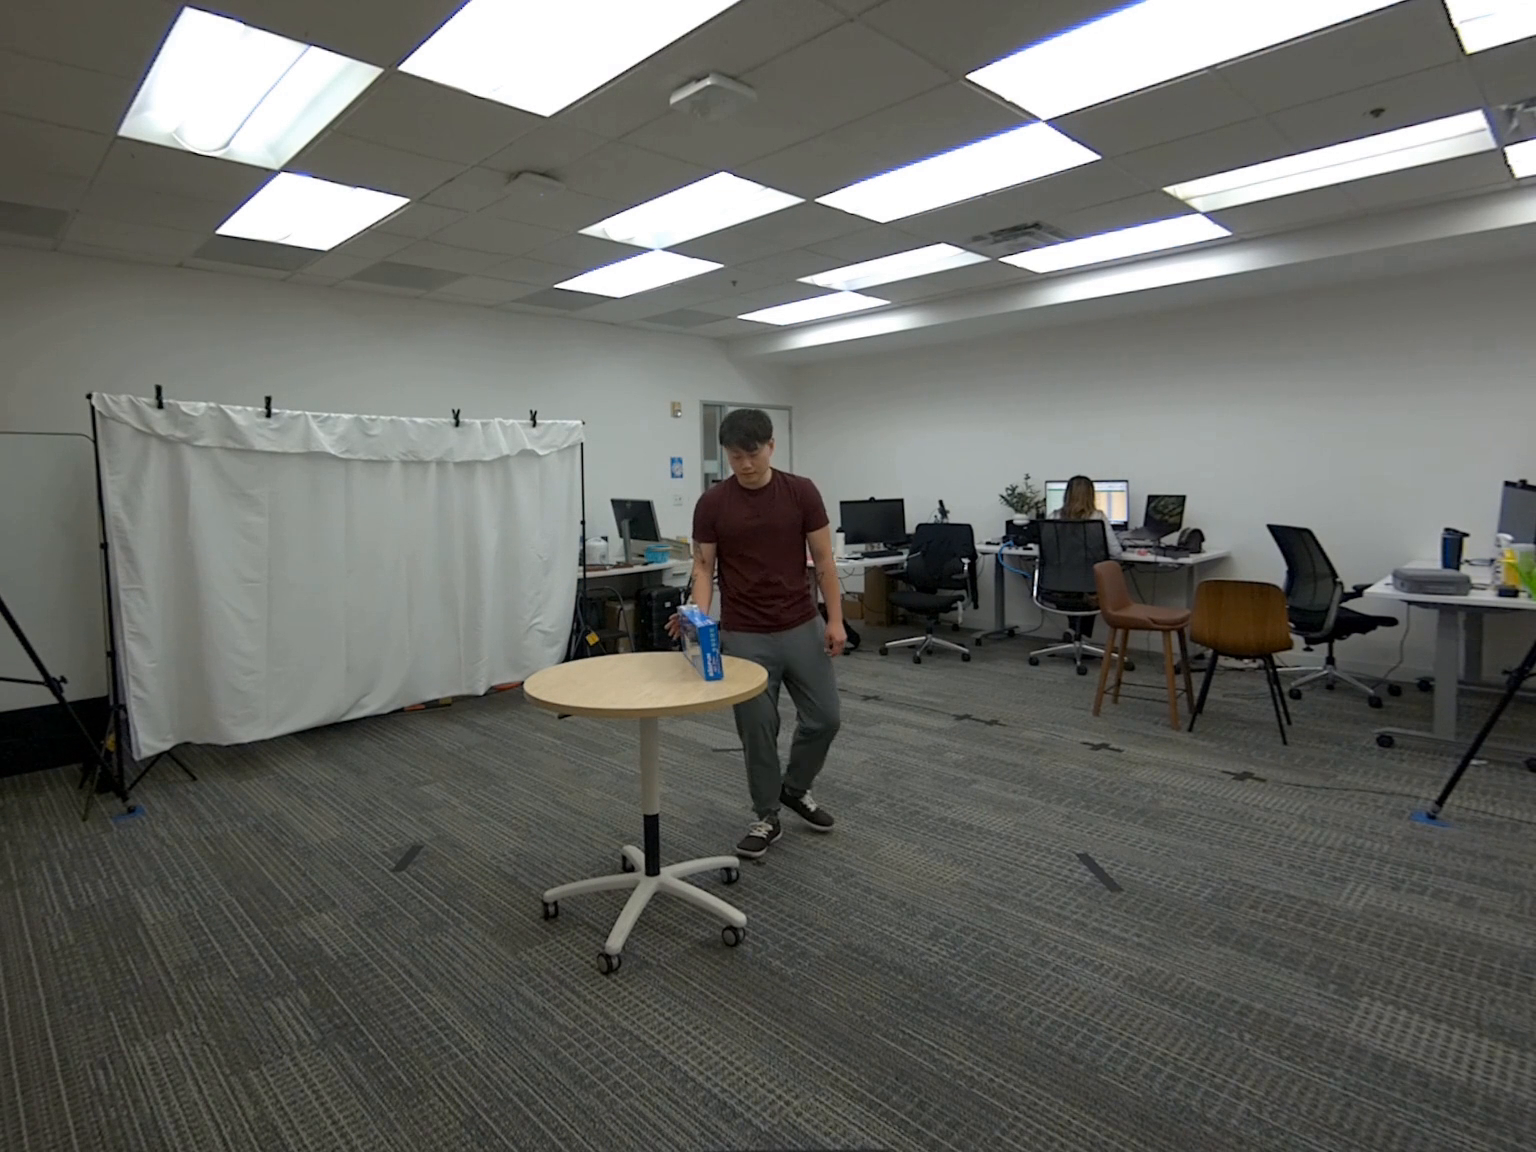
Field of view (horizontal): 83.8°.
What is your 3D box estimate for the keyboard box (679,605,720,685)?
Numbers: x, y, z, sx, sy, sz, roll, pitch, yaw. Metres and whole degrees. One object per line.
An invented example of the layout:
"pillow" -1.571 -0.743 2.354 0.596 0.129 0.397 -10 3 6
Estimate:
"keyboard box" -0.232 0.217 2.829 0.058 0.175 0.443 -3 6 -13
